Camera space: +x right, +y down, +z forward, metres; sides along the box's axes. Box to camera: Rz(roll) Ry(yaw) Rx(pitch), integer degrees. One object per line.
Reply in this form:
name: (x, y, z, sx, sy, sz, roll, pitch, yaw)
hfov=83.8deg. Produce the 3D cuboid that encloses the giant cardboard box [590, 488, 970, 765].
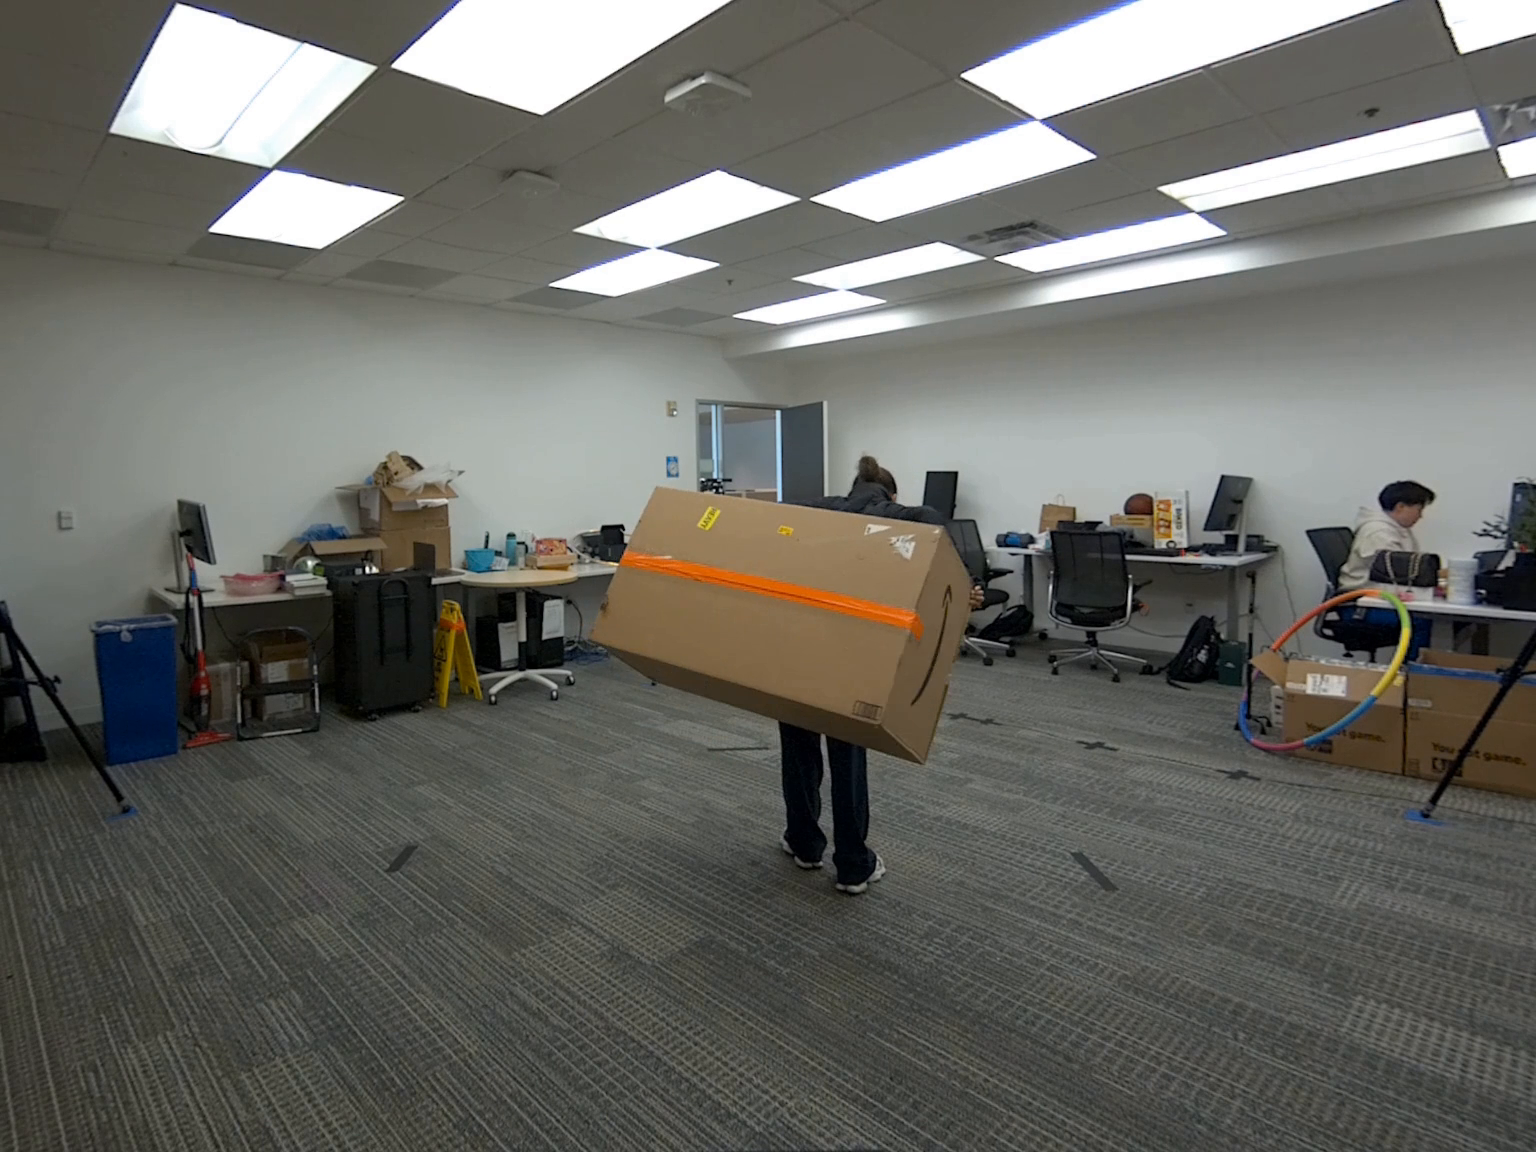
giant cardboard box: (0.026, 0.123, 2.699, 1.058, 0.582, 0.410, 11, -20, 33)
